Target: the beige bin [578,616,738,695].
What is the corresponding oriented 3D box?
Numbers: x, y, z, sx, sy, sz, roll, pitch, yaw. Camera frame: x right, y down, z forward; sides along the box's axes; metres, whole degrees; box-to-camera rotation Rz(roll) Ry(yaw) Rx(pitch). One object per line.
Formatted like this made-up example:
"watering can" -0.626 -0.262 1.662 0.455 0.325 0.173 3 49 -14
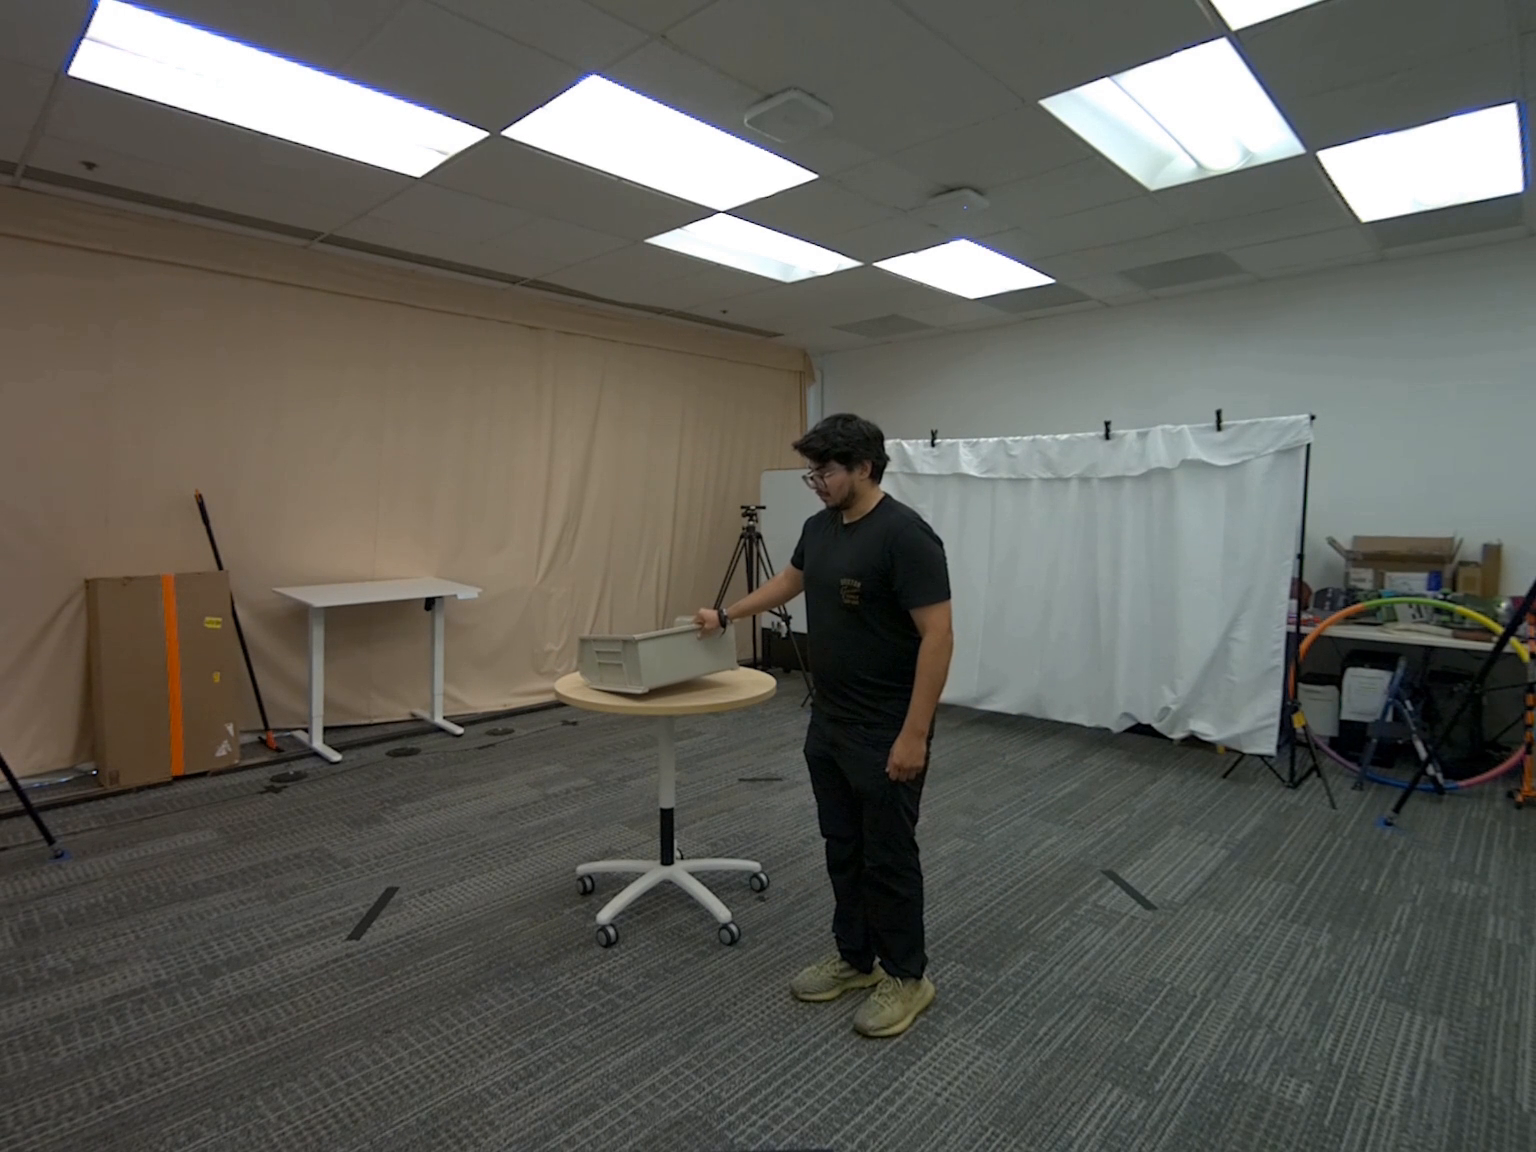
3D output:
"beige bin" -0.371 0.255 2.841 0.410 0.189 0.389 -7 3 -41
